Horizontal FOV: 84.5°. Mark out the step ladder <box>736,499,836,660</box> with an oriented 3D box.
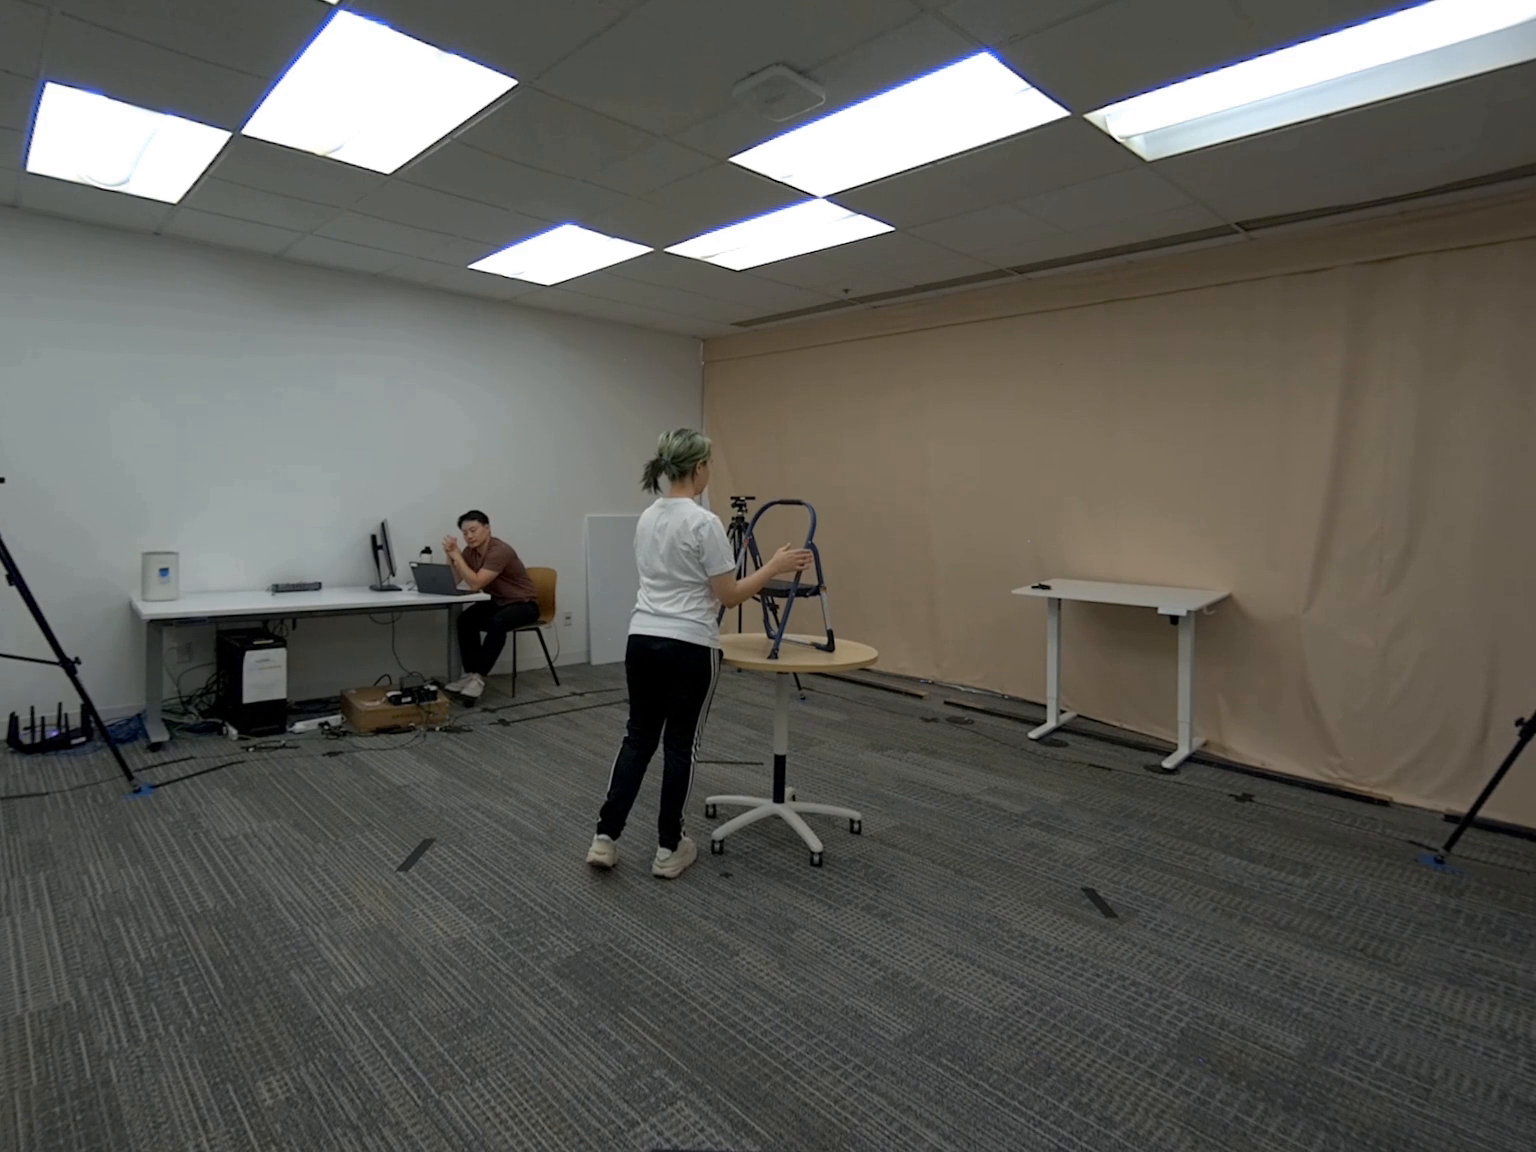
[{"bbox_3d":[0.018,-0.008,3.429,0.341,0.605,0.441,-1,4,-39],"label":"step ladder"}]
